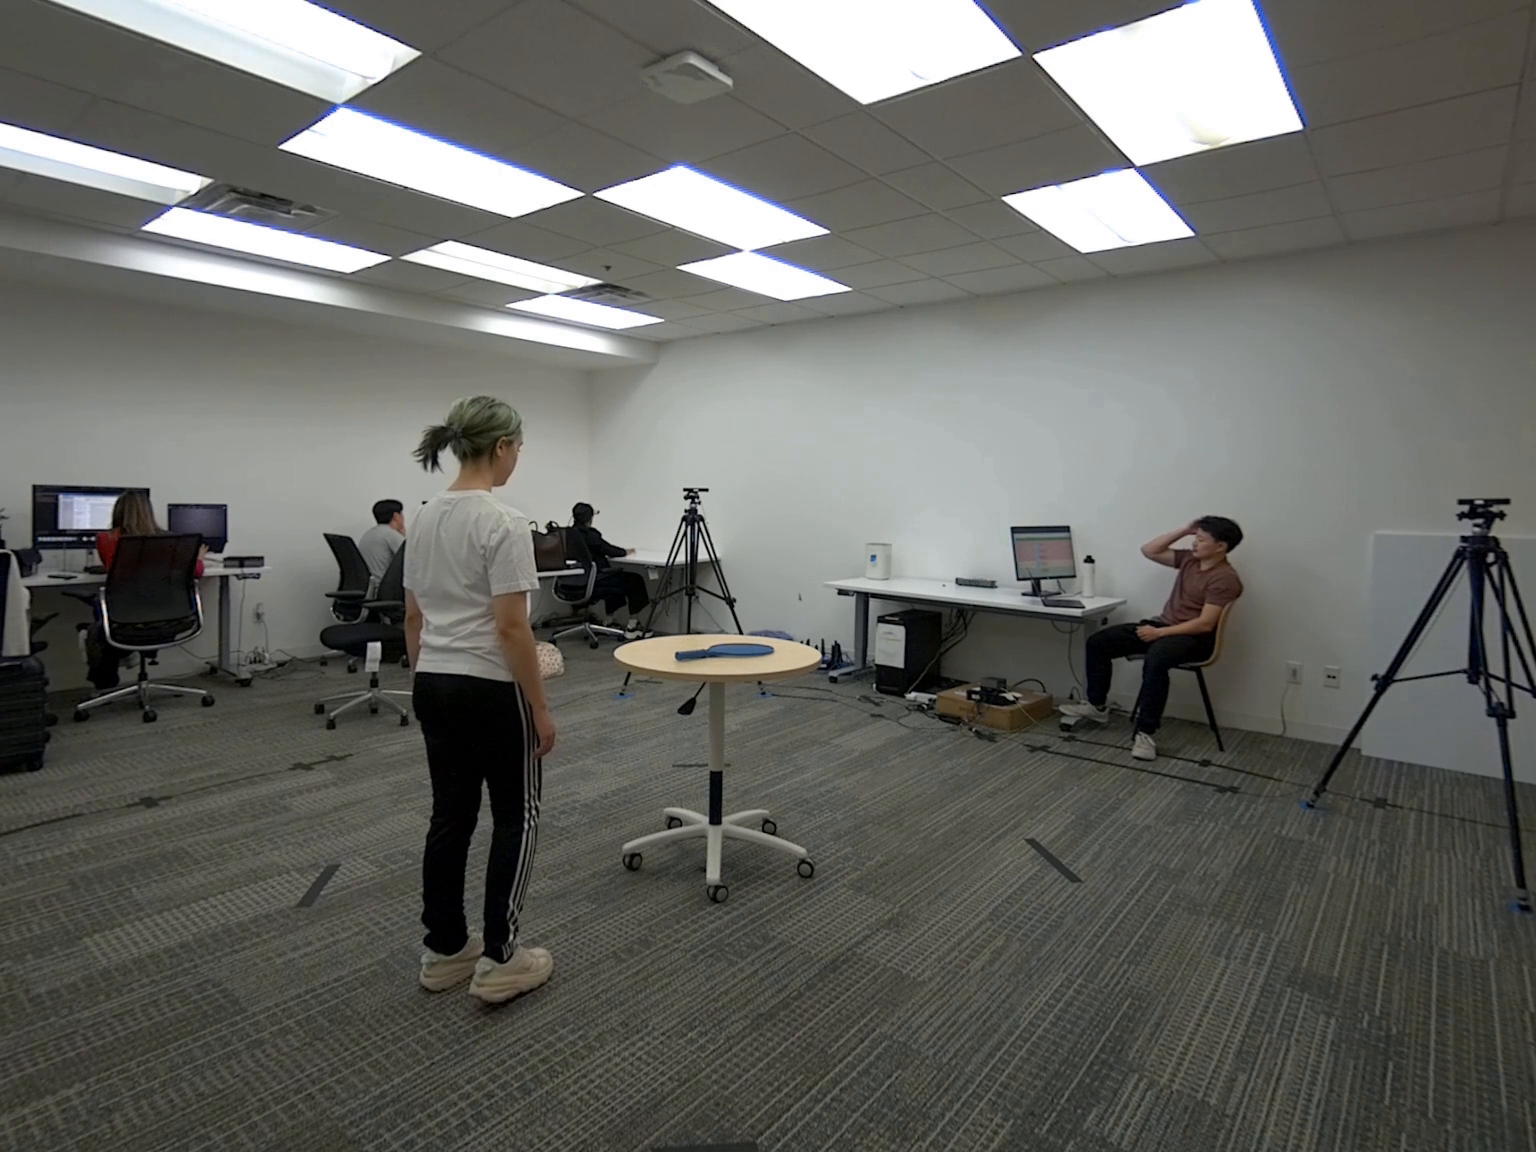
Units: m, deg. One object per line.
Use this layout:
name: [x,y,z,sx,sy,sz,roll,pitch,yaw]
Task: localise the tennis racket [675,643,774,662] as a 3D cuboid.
tennis racket: [-0.166,0.278,3.111,0.420,0.032,0.221,-2,5,-38]
